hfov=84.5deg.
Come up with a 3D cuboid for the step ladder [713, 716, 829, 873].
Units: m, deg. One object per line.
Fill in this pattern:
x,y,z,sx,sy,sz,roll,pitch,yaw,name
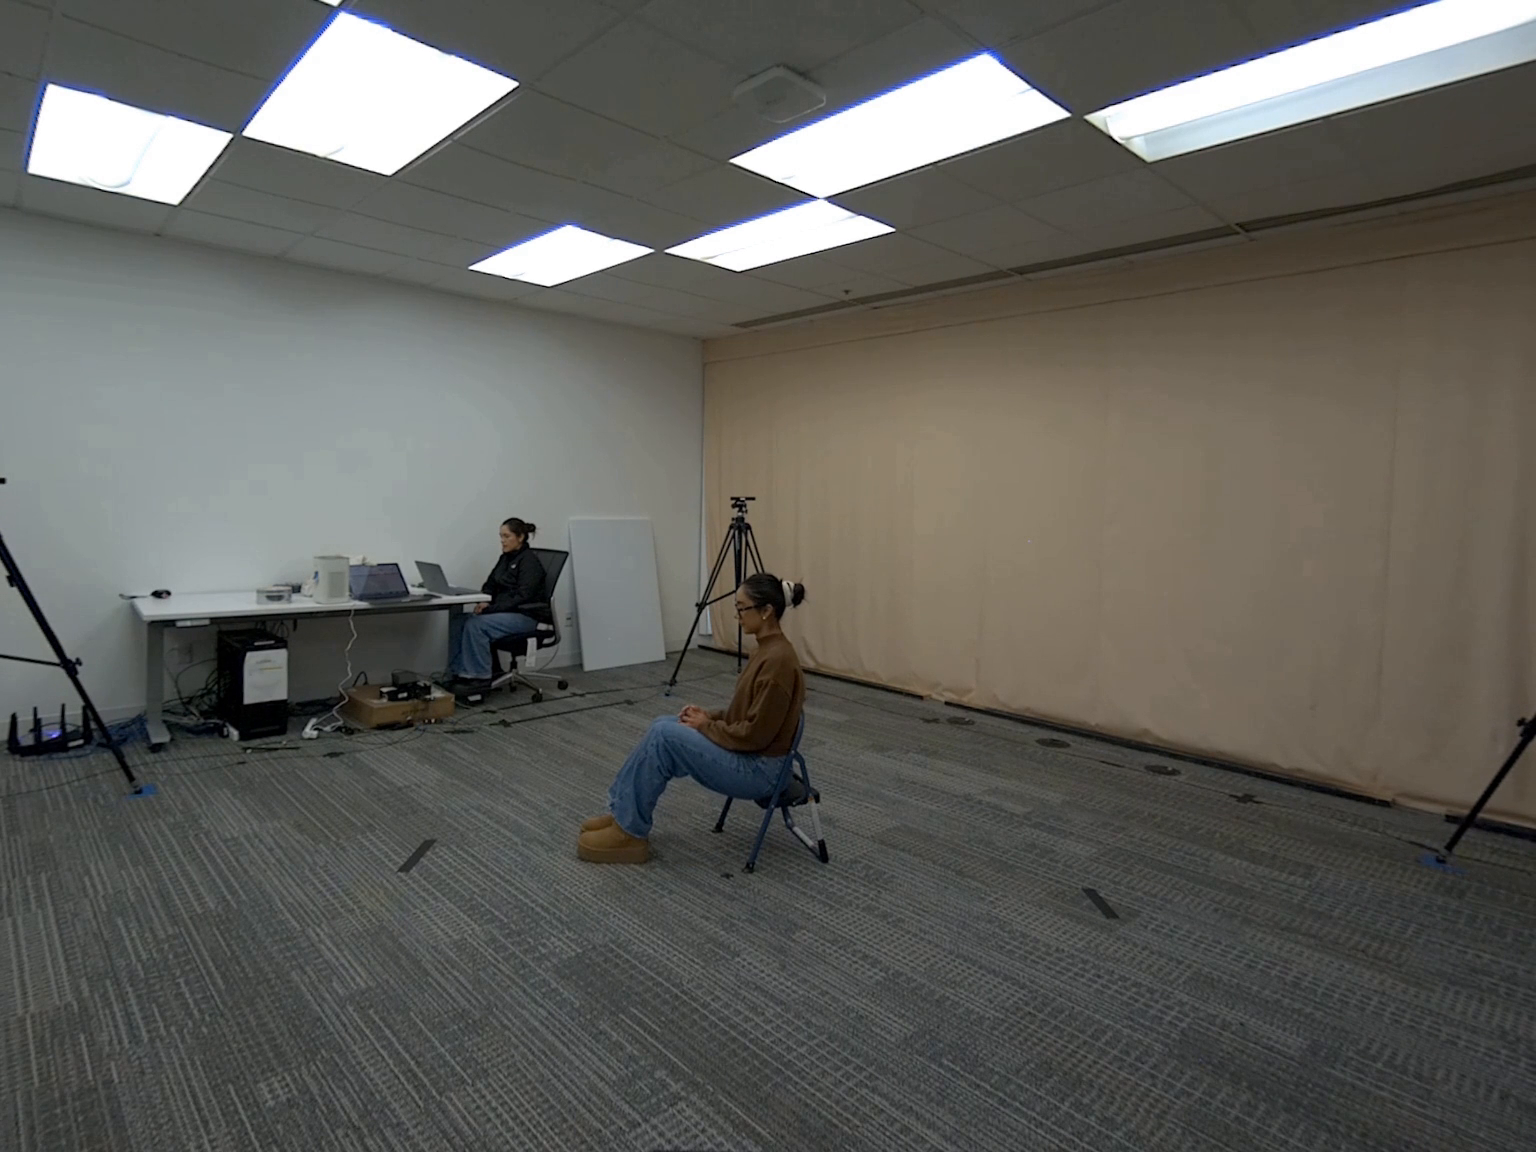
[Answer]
0.007,0.791,3.364,0.344,0.604,0.438,0,4,-20,step ladder
